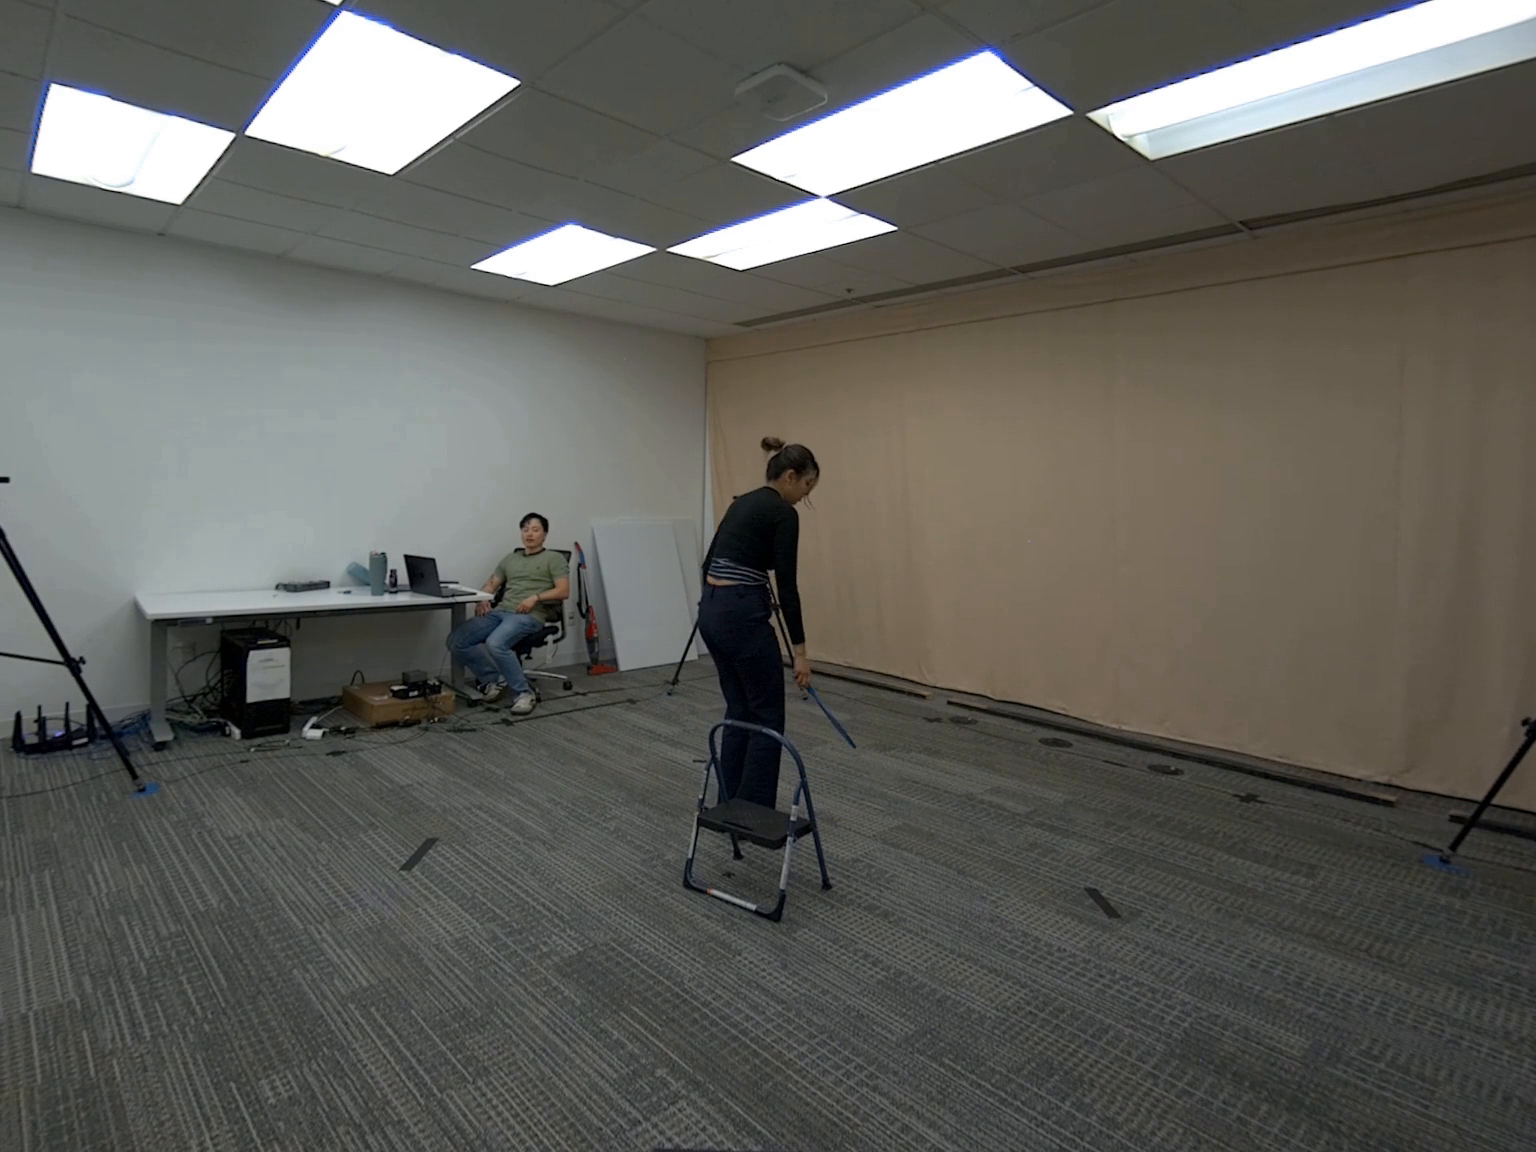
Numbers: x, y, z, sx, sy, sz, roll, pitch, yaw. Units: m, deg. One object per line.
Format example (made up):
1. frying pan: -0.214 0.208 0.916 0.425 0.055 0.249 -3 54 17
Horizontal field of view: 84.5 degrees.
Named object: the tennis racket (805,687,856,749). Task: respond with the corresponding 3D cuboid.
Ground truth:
1. tennis racket: 0.223 0.554 3.461 0.032 0.423 0.219 -38 24 -8
